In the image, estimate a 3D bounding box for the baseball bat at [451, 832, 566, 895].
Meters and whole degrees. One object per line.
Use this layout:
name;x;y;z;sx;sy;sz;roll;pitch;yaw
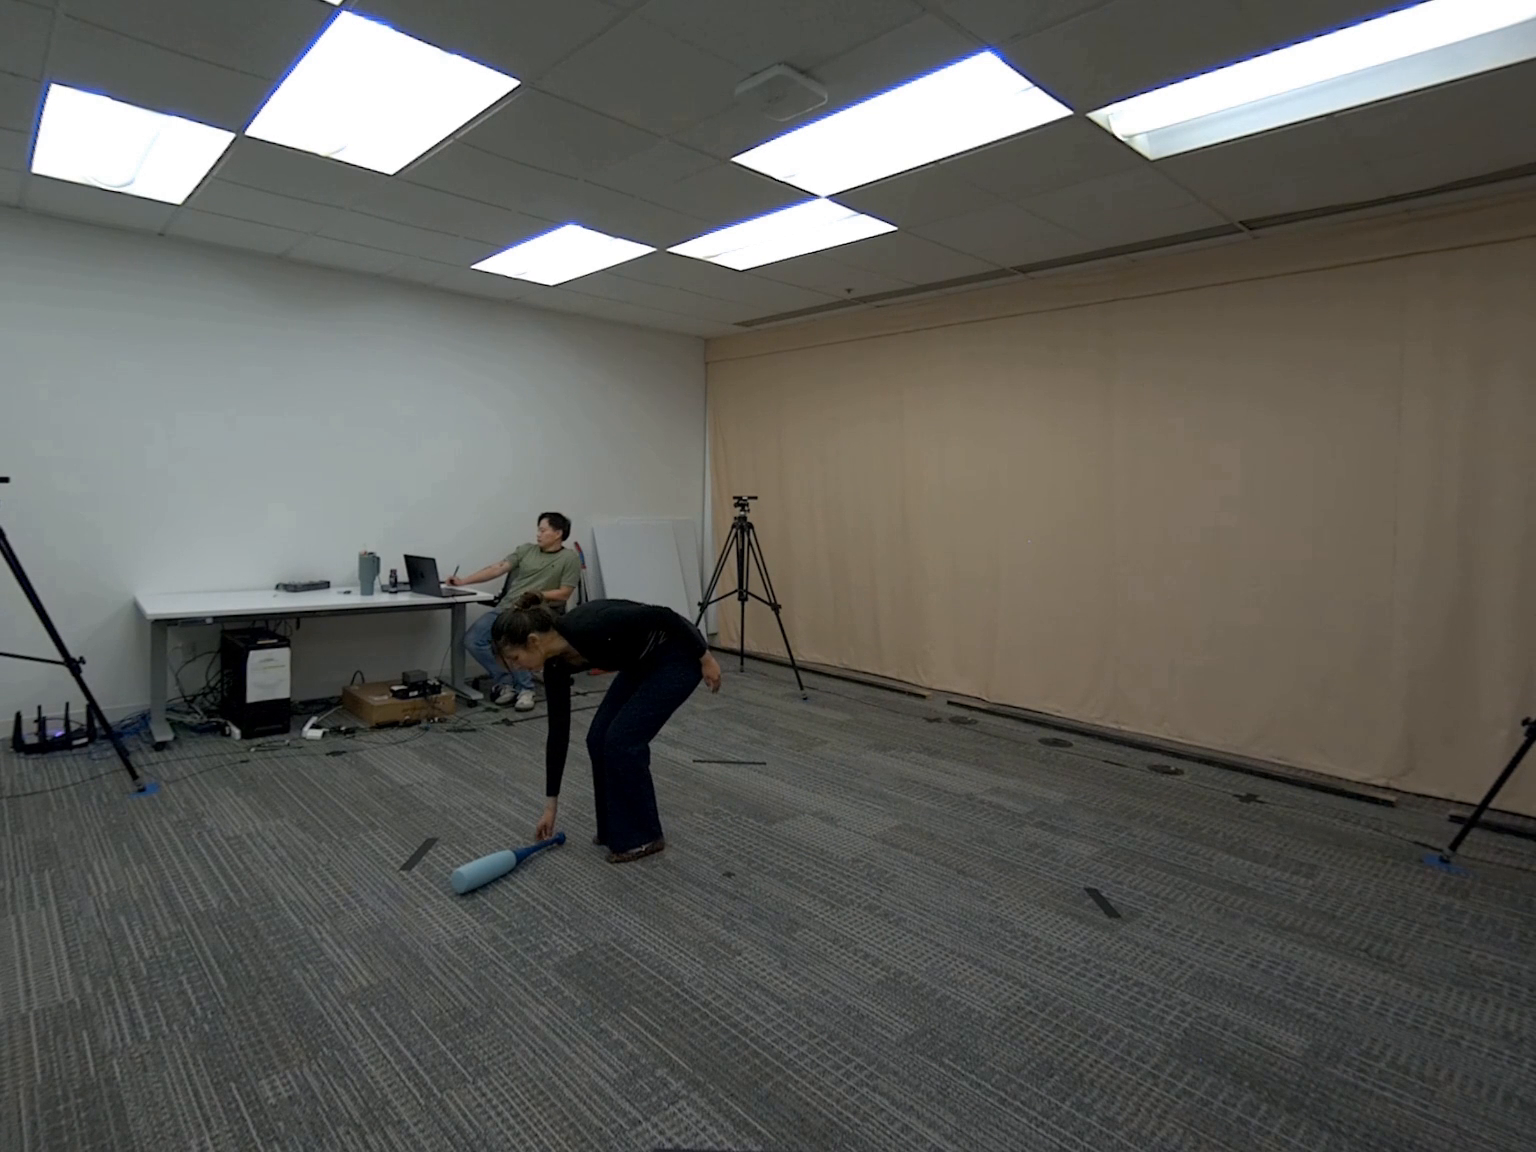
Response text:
baseball bat;-0.952;1.045;3.117;0.091;0.089;0.533;3;4;26
